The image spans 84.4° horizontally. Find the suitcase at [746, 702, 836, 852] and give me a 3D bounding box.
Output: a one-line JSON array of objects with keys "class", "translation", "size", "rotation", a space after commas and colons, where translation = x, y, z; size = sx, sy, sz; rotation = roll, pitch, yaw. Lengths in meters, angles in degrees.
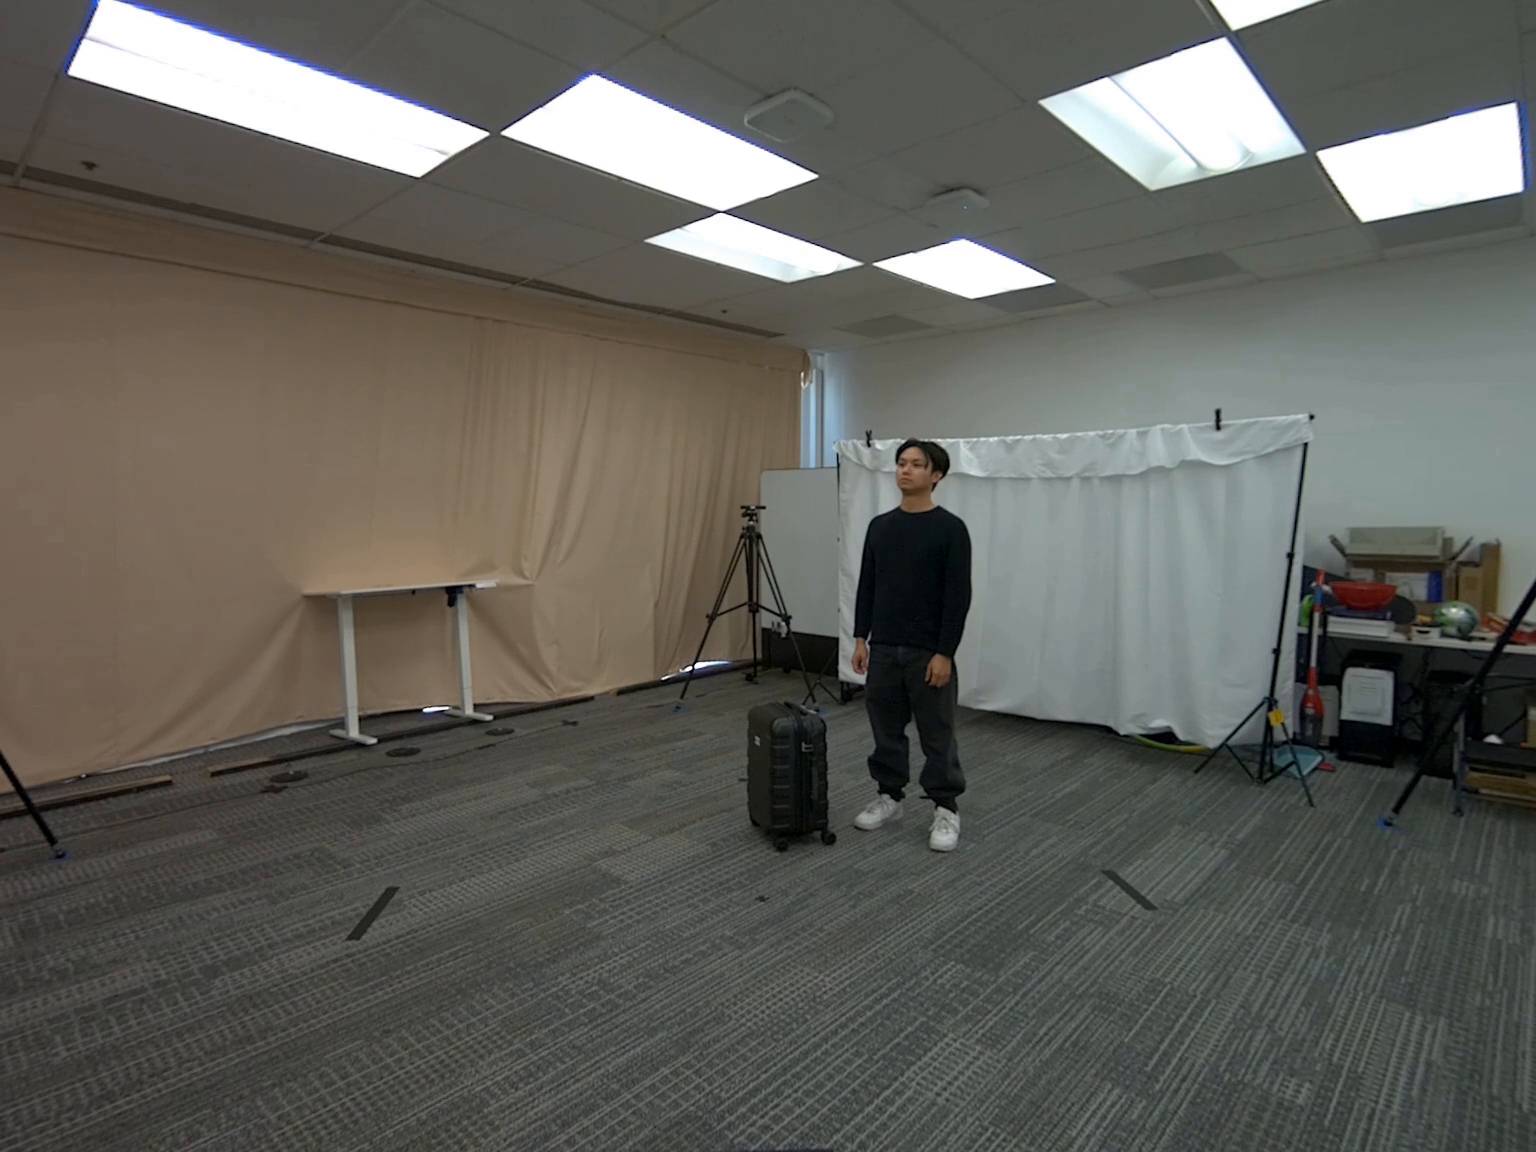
[{"class": "suitcase", "translation": [0.084, 0.819, 3.550], "size": [0.243, 0.548, 0.383], "rotation": [-3, 4, -20]}]
